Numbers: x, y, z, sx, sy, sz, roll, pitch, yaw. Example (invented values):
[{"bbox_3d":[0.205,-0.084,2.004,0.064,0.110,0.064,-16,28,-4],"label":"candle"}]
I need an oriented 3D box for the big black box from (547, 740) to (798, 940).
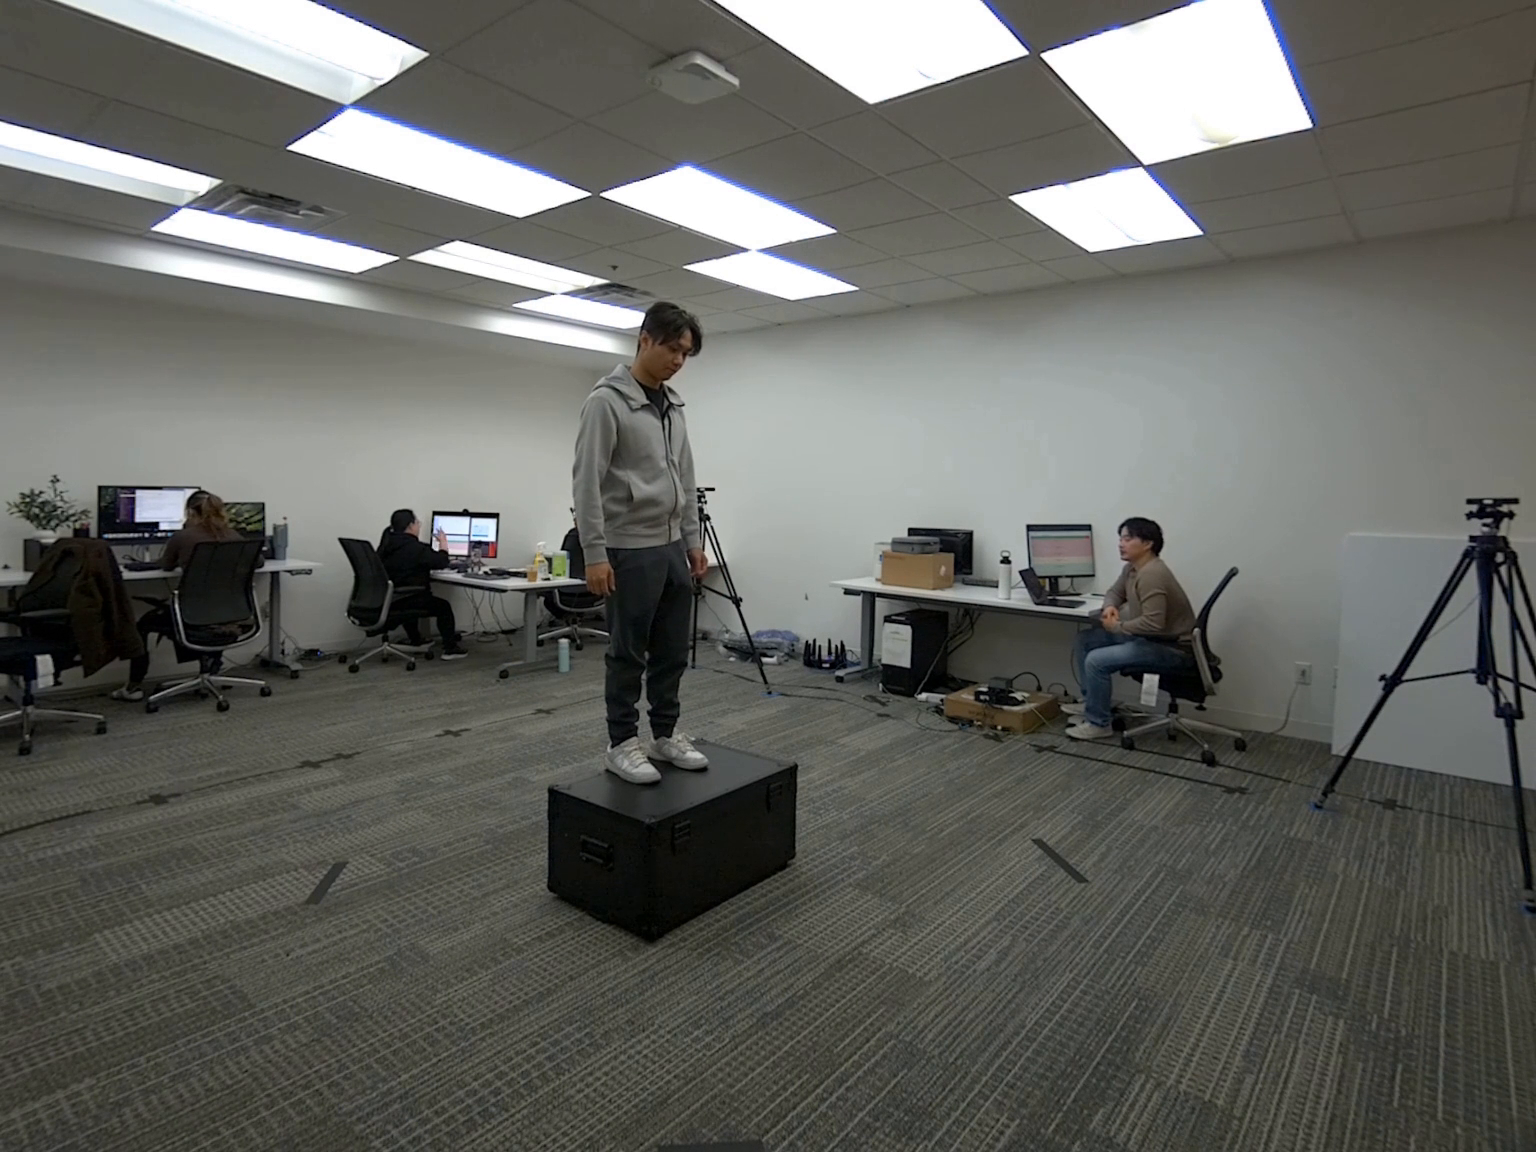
[{"bbox_3d":[-0.306,0.882,3.031,0.538,0.395,0.837,4,6,38],"label":"big black box"}]
